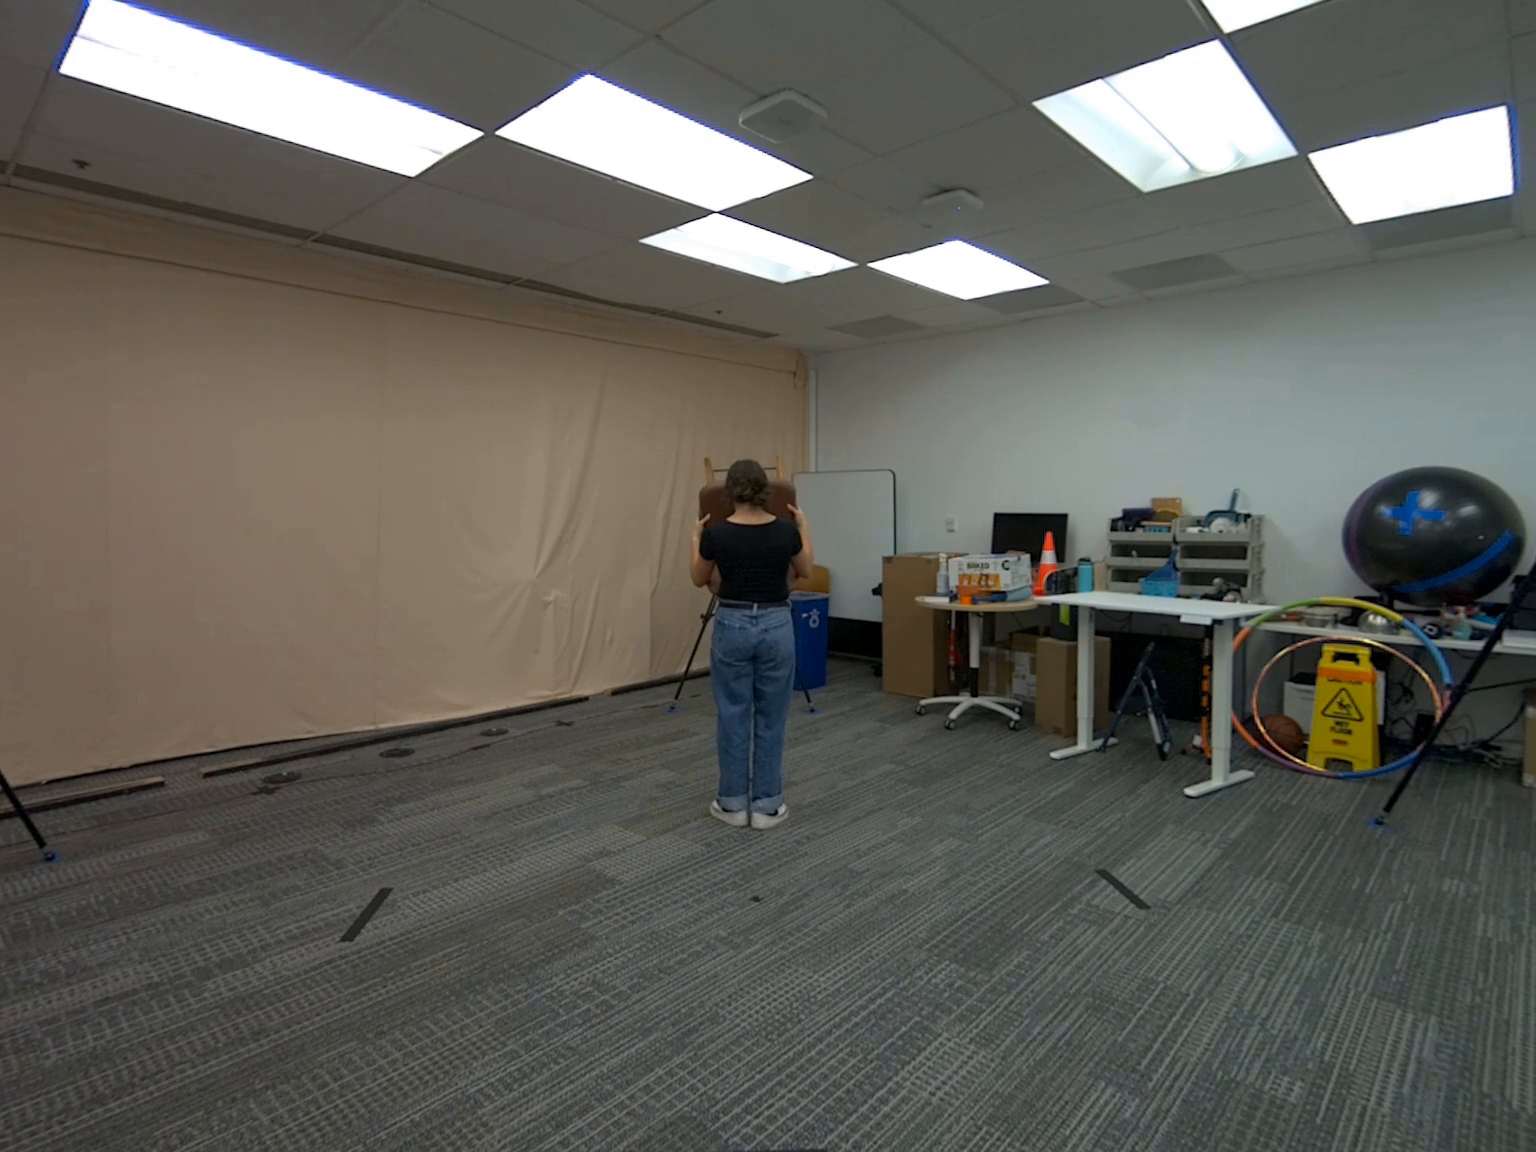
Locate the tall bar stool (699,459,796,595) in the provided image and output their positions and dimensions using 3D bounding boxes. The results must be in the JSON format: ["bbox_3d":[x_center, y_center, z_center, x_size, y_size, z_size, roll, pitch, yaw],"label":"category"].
[{"bbox_3d":[-0.101,-0.268,4.033,0.456,0.462,0.901,-2,20,-2],"label":"tall bar stool"}]
